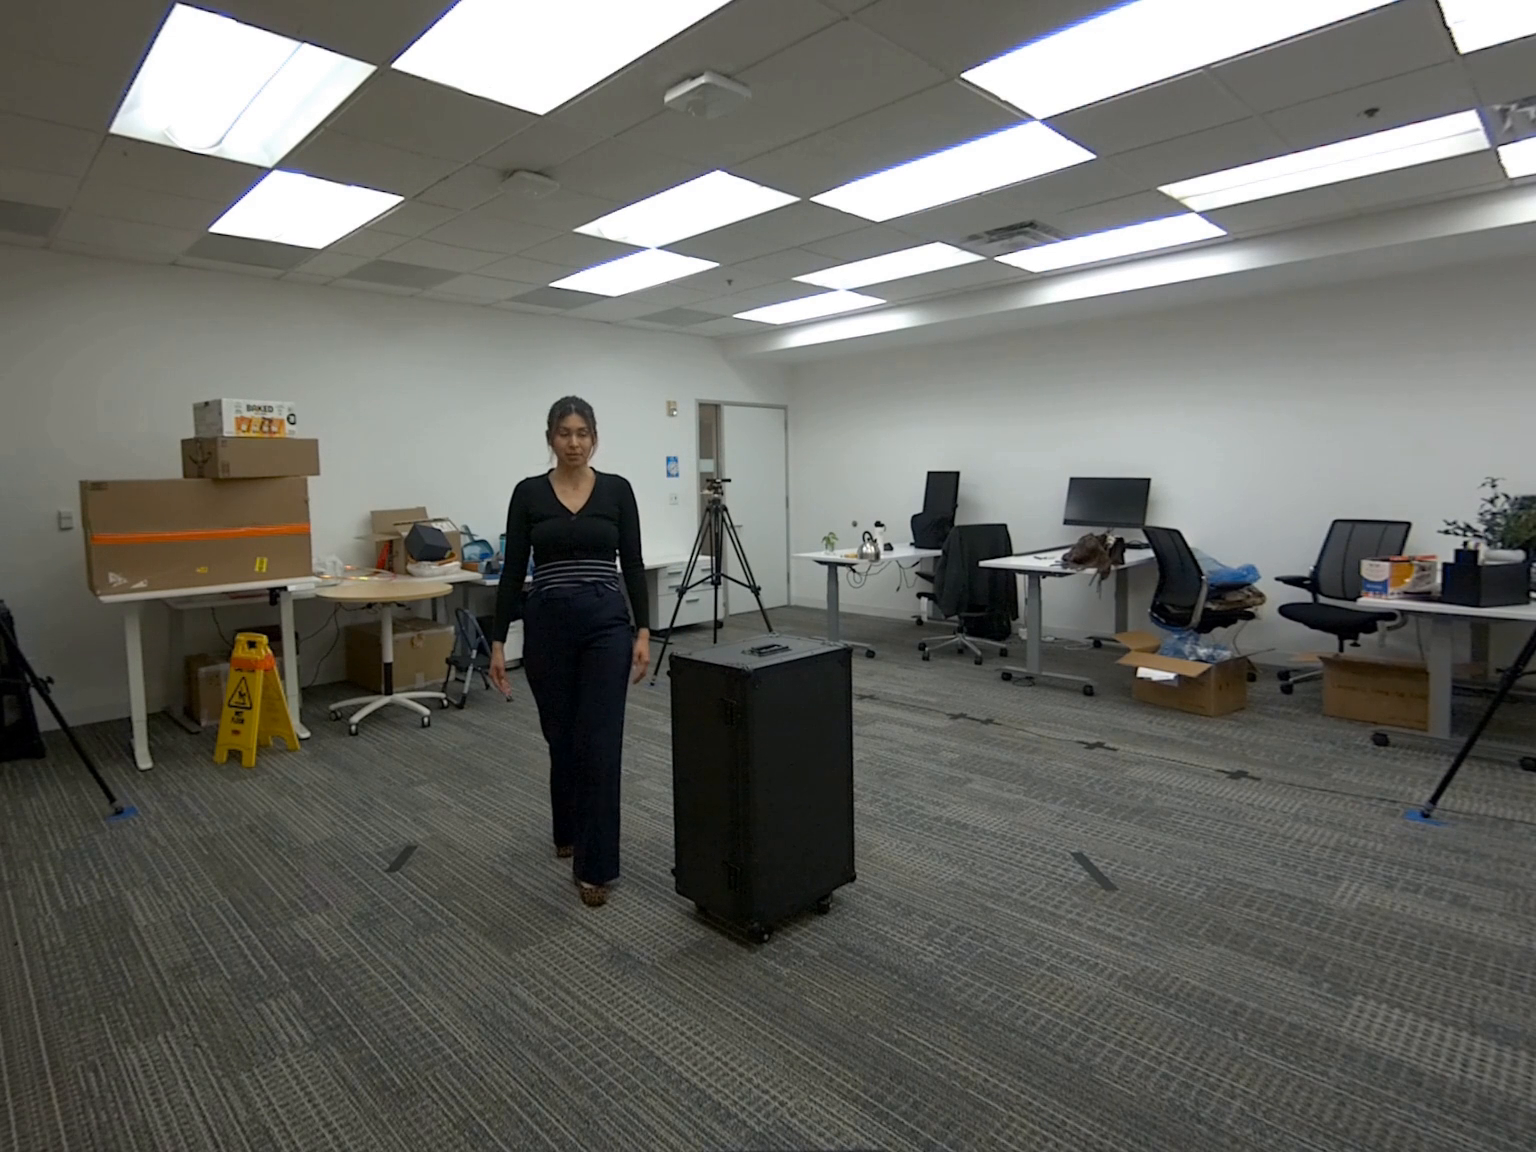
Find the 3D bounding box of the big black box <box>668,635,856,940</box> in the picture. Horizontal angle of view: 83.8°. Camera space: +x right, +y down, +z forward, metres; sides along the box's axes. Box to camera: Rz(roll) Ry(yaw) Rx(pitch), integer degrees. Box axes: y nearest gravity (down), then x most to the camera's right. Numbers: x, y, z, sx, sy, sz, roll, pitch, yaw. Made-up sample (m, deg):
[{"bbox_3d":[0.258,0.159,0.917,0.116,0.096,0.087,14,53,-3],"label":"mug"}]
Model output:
[{"bbox_3d":[-0.018,0.603,2.762,0.507,0.858,0.408,-5,5,-44],"label":"big black box"}]
